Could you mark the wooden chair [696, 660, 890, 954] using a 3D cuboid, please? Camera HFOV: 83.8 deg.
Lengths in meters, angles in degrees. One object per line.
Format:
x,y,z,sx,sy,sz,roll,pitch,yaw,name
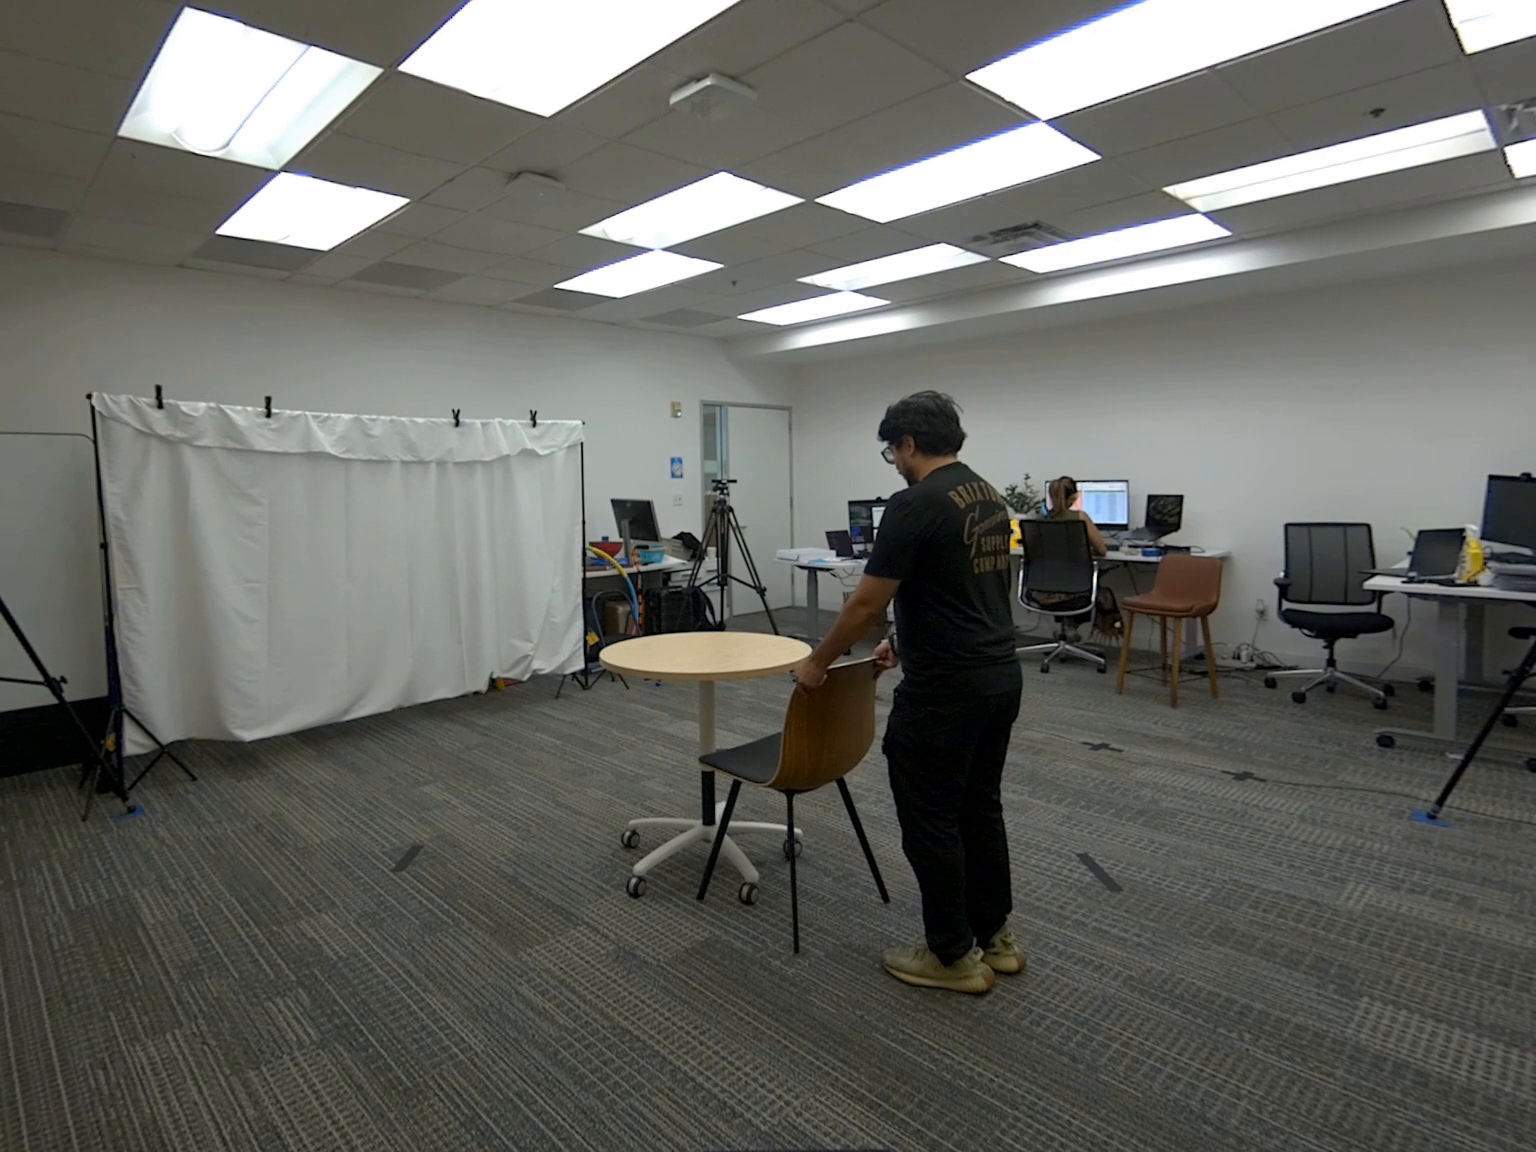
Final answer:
0.077,0.651,2.799,0.466,0.871,0.541,-6,11,-43,wooden chair
